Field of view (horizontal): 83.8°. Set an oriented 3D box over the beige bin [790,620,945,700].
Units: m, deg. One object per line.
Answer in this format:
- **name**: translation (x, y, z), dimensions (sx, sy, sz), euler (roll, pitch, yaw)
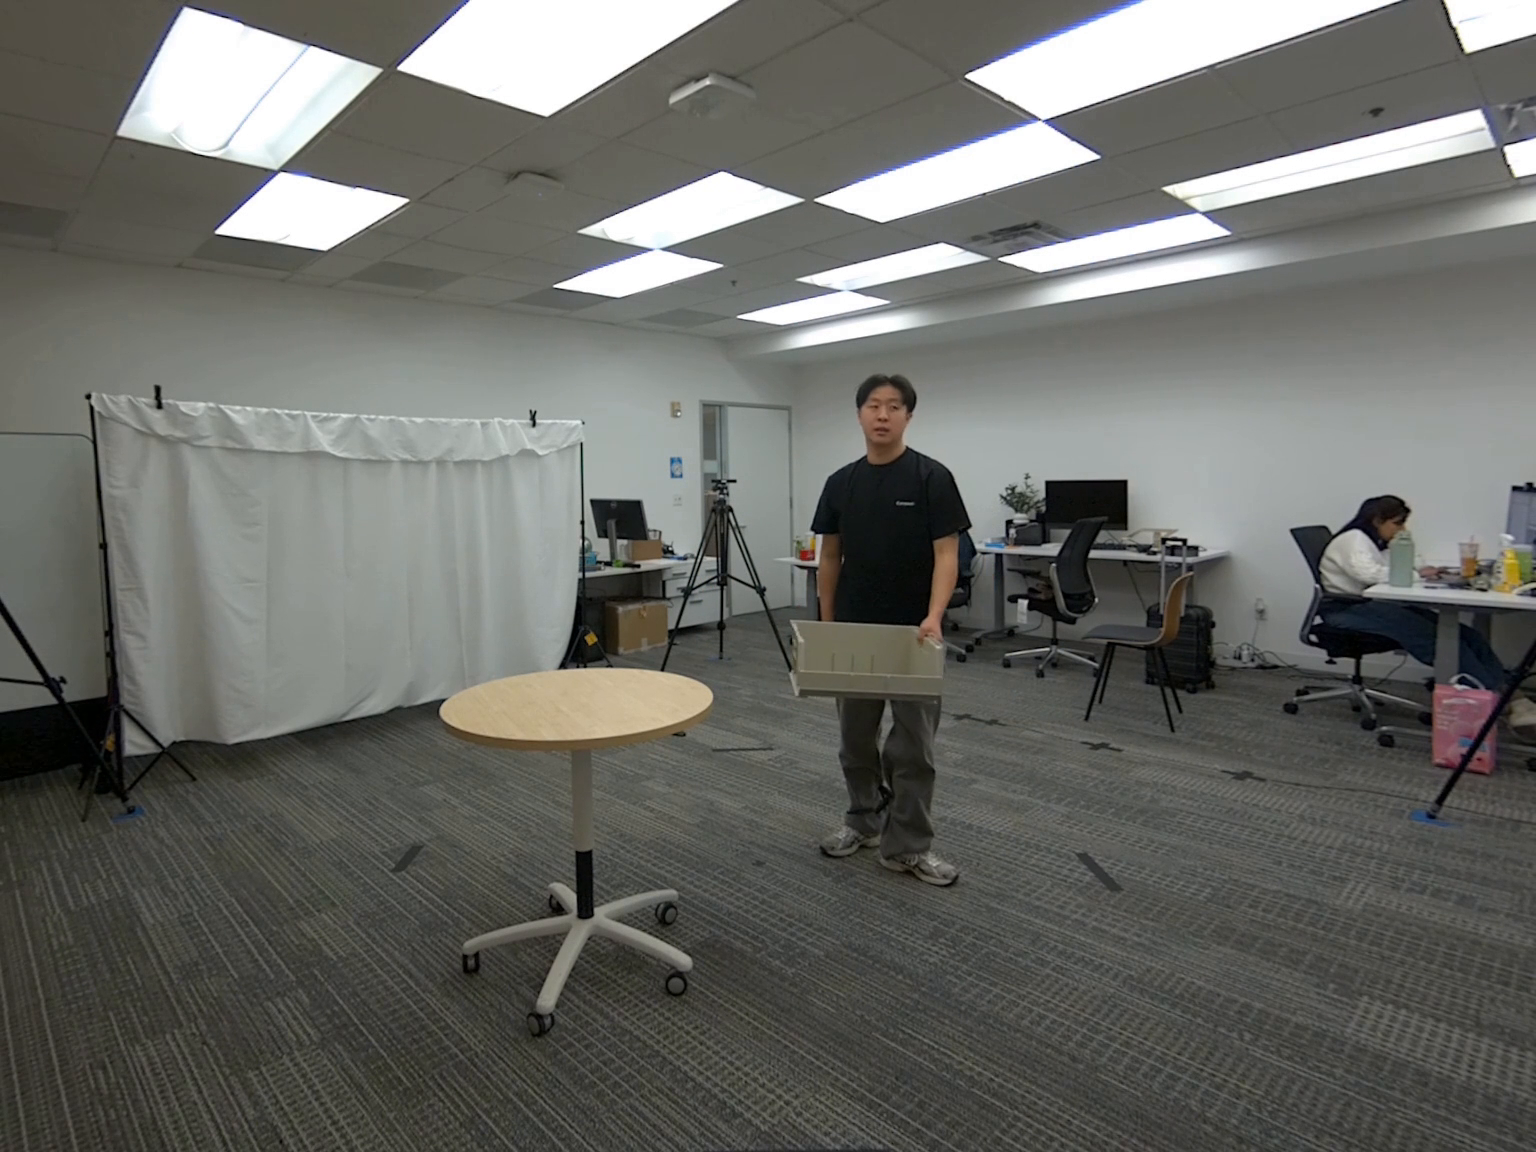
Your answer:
- **beige bin**: translation (0.289, 0.264, 2.631), dimensions (0.423, 0.188, 0.378), euler (2, 3, 0)
